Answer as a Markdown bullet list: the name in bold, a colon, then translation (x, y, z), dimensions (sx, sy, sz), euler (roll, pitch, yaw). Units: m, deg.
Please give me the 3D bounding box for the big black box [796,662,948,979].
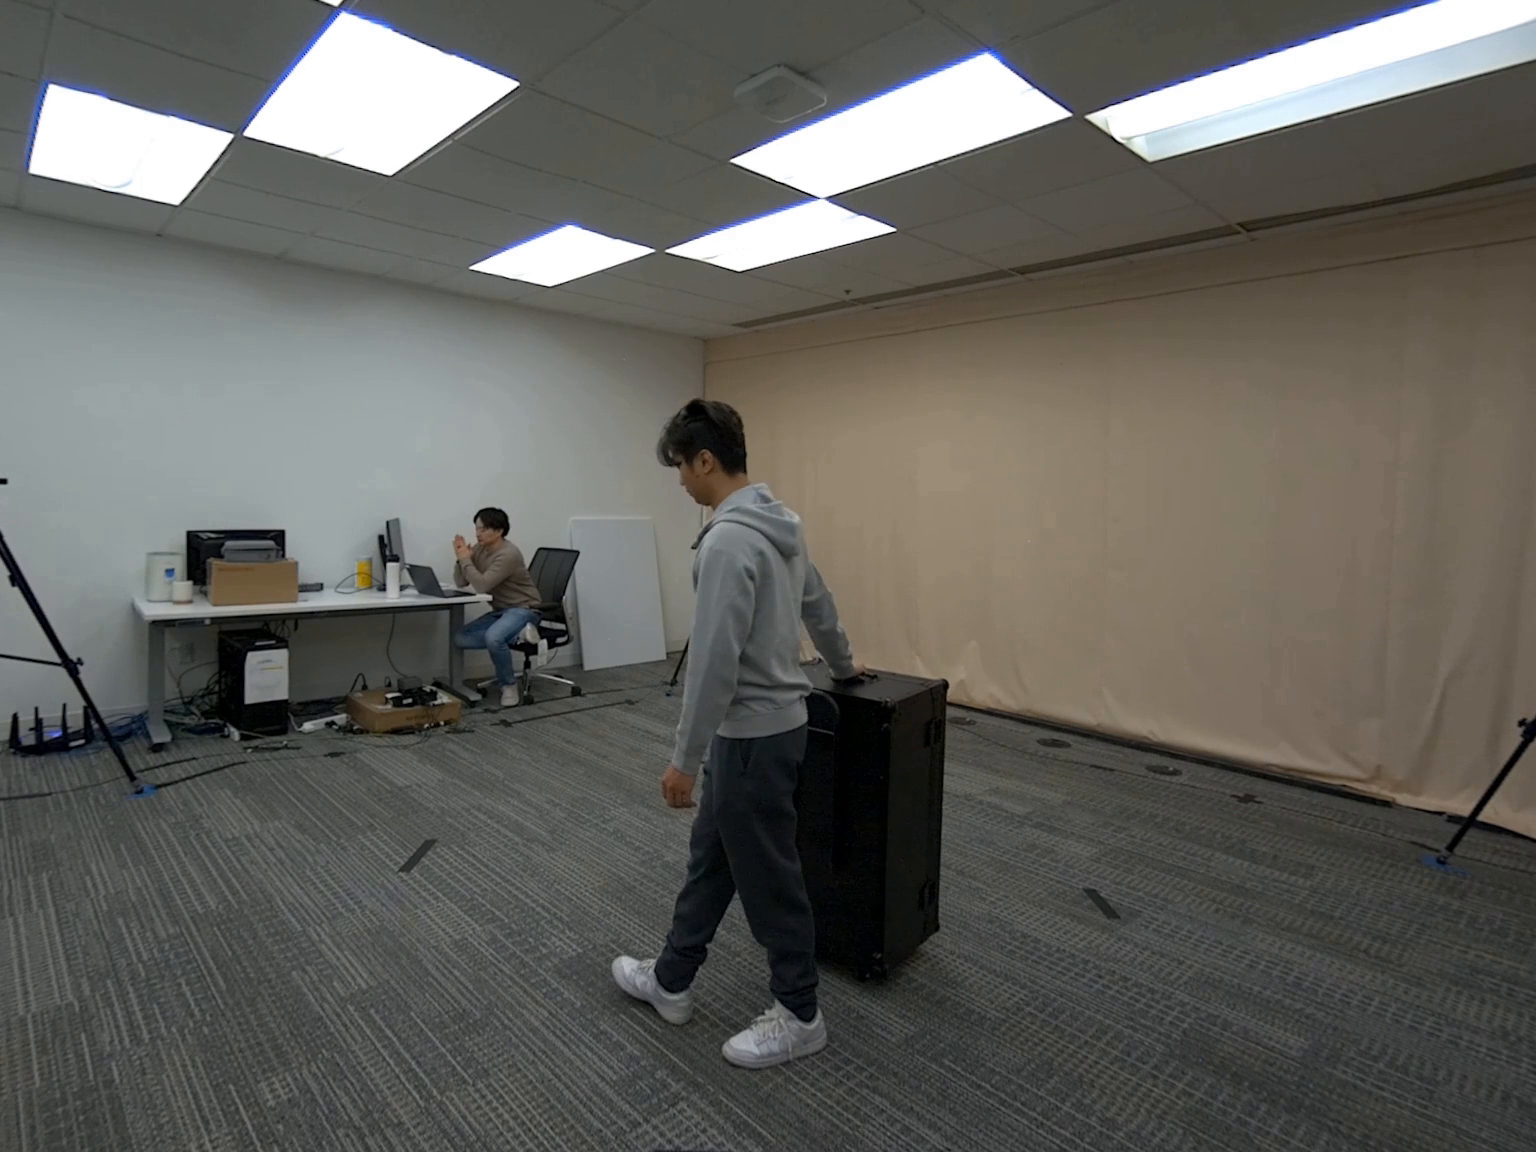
- **big black box**: translation (0.238, 0.741, 2.587), dimensions (0.534, 0.858, 0.388), euler (5, 7, 38)
